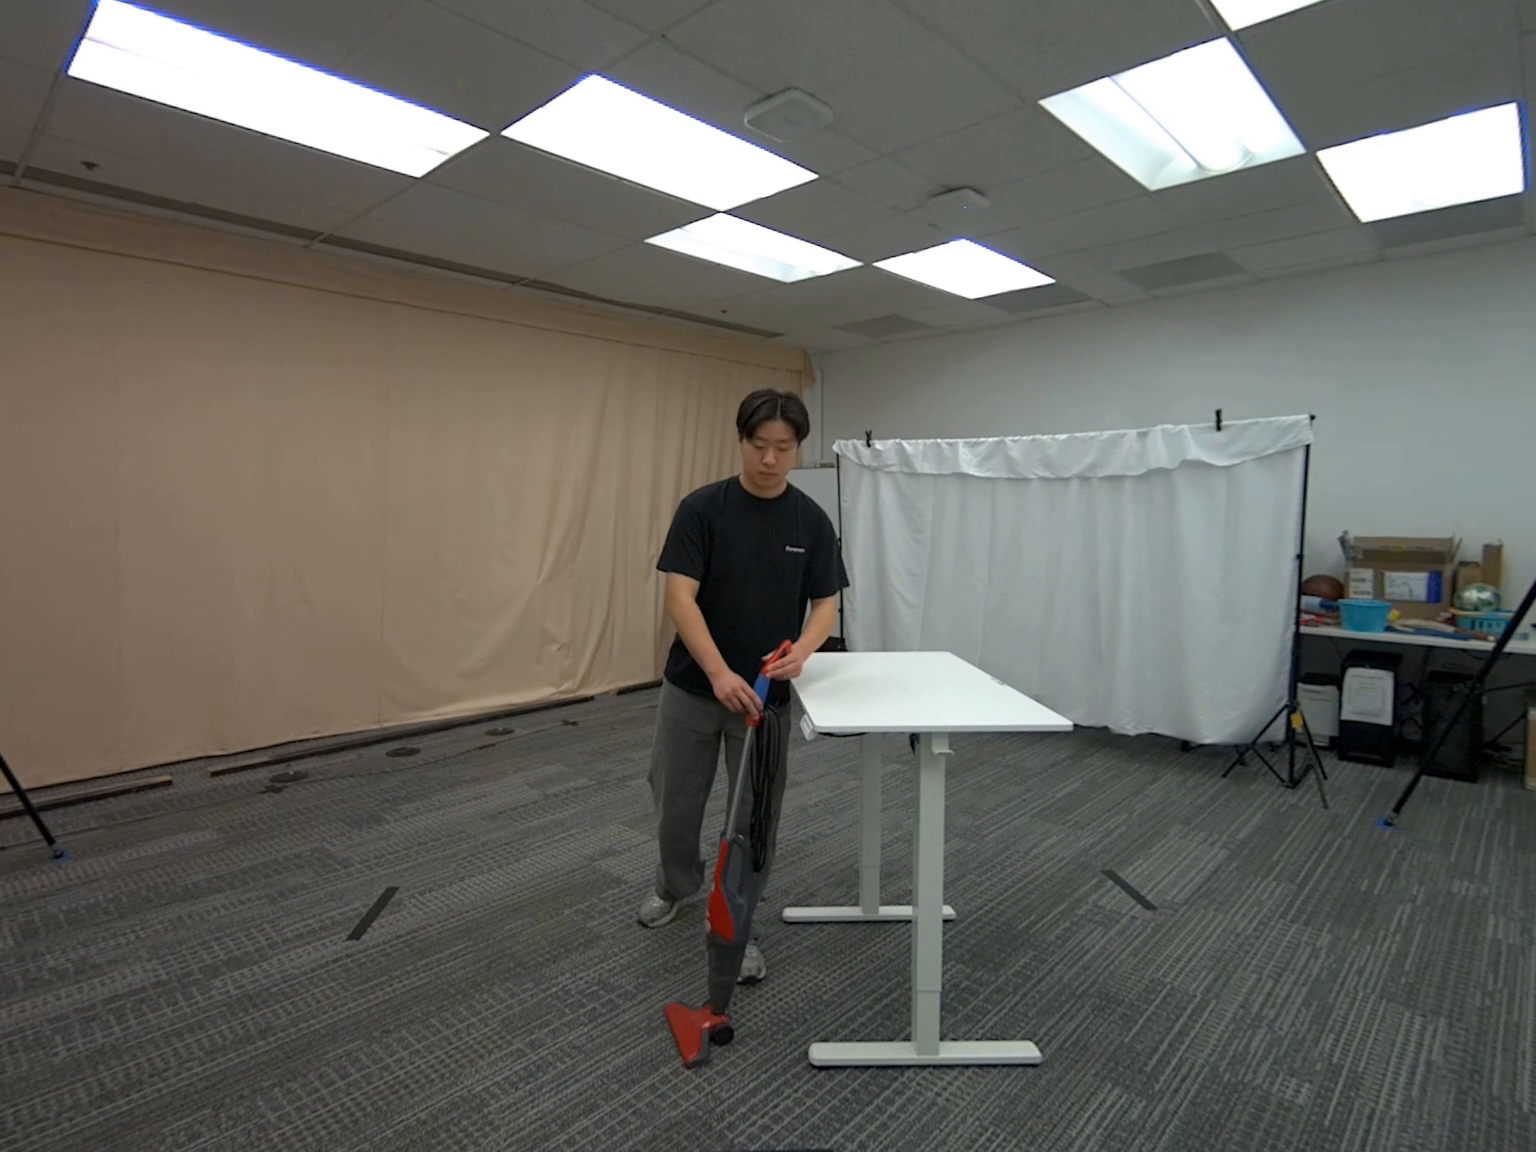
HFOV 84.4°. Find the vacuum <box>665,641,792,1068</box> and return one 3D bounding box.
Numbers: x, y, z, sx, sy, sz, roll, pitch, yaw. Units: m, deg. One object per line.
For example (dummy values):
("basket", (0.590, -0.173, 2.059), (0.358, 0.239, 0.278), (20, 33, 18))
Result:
("vacuum", (-0.060, 0.692, 2.232), (0.141, 1.050, 0.258), (14, -2, -22))
